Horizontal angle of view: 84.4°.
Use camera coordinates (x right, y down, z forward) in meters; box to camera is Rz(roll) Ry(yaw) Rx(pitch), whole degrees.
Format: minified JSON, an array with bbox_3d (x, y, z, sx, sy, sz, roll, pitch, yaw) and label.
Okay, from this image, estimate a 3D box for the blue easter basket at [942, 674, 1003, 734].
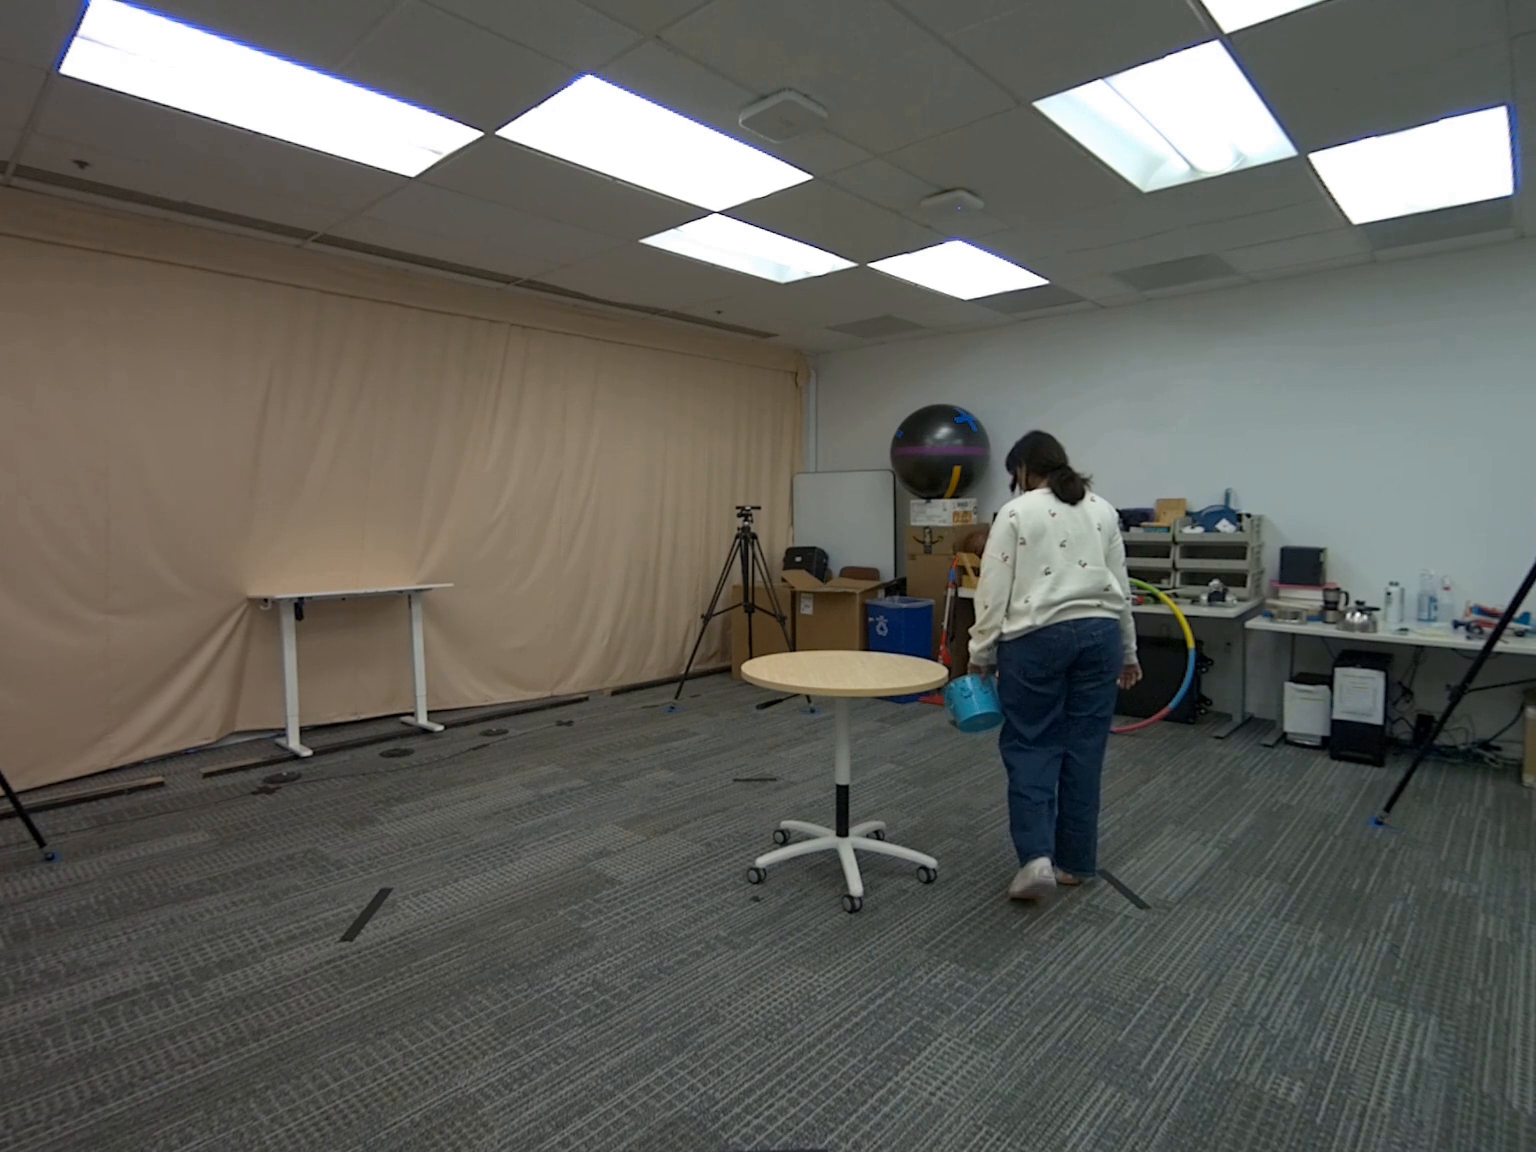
[{"bbox_3d":[0.814,0.507,3.287,0.242,0.159,0.239,-5,-36,-6],"label":"blue easter basket"}]
